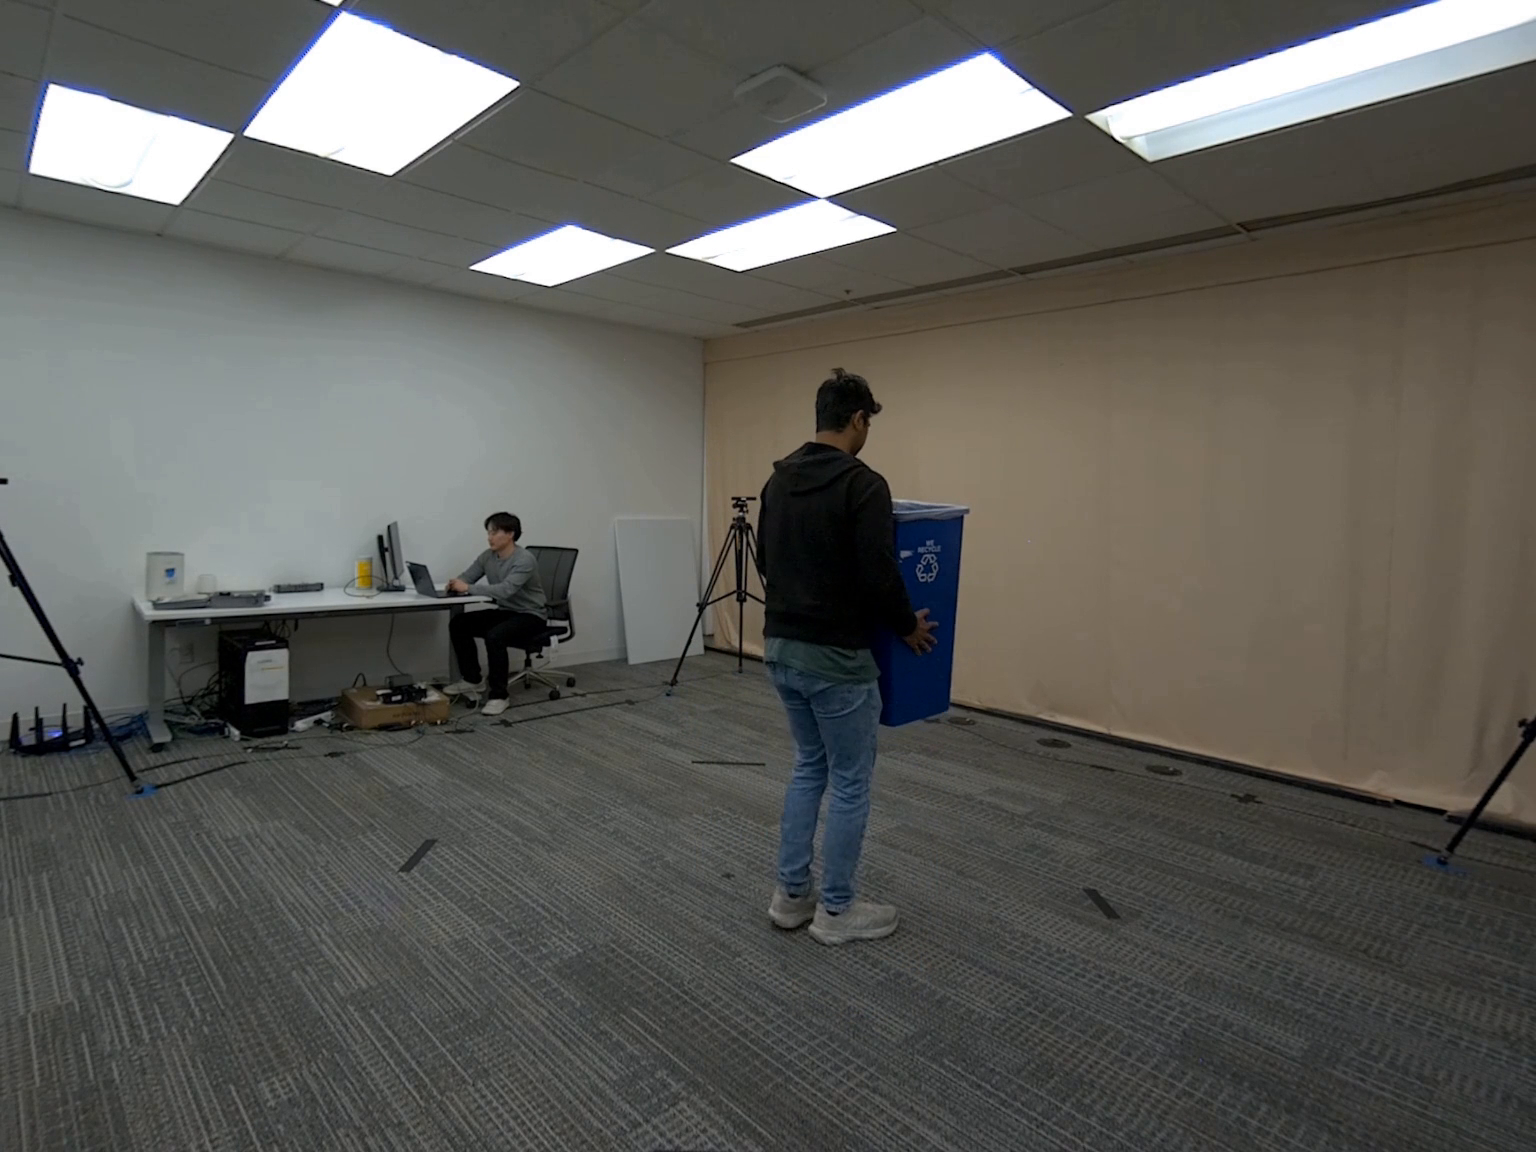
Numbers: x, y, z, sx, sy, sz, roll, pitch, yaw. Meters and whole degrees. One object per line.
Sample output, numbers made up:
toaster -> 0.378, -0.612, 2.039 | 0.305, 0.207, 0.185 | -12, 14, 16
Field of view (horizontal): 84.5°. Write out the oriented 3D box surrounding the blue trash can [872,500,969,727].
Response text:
blue trash can -> 0.427, 0.109, 2.915 | 0.366, 0.709, 0.388 | -6, 11, -38
